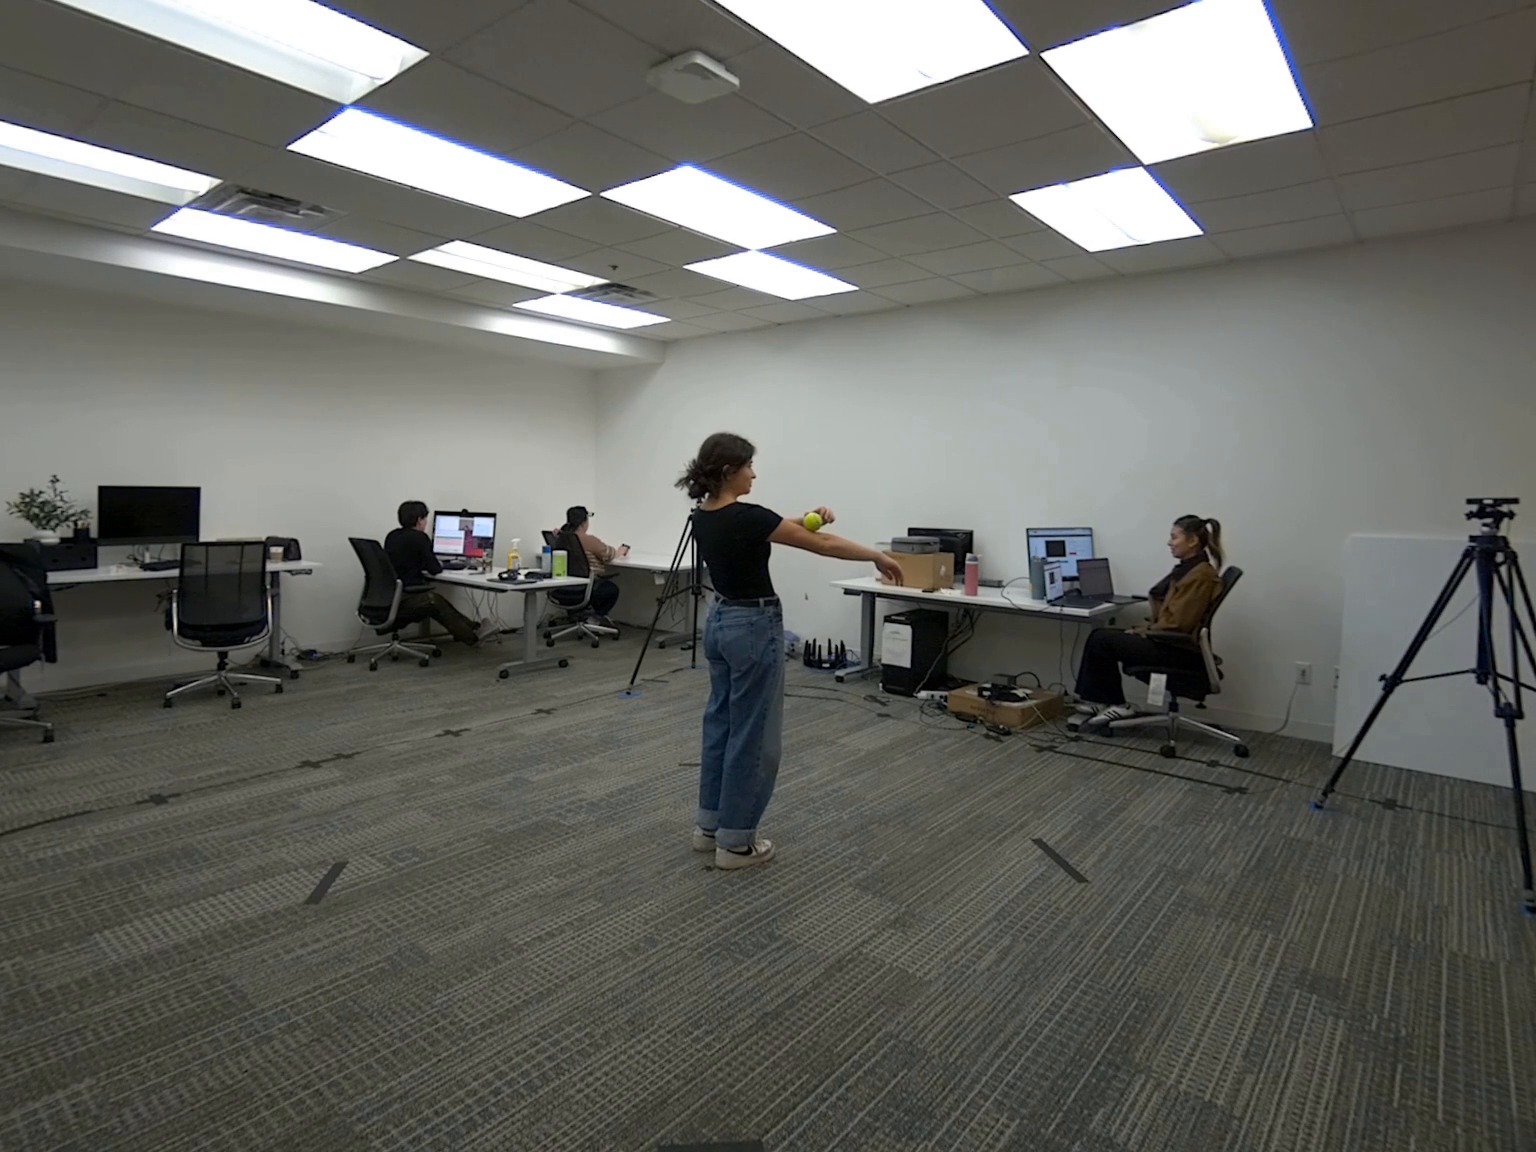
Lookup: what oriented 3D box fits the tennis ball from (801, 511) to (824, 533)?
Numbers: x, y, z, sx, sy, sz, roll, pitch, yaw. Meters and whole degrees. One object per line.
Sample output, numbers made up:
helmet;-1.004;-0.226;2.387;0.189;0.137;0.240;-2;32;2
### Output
tennis ball;0.147;-0.206;3.077;0.066;0.066;0.067;1;4;-2
